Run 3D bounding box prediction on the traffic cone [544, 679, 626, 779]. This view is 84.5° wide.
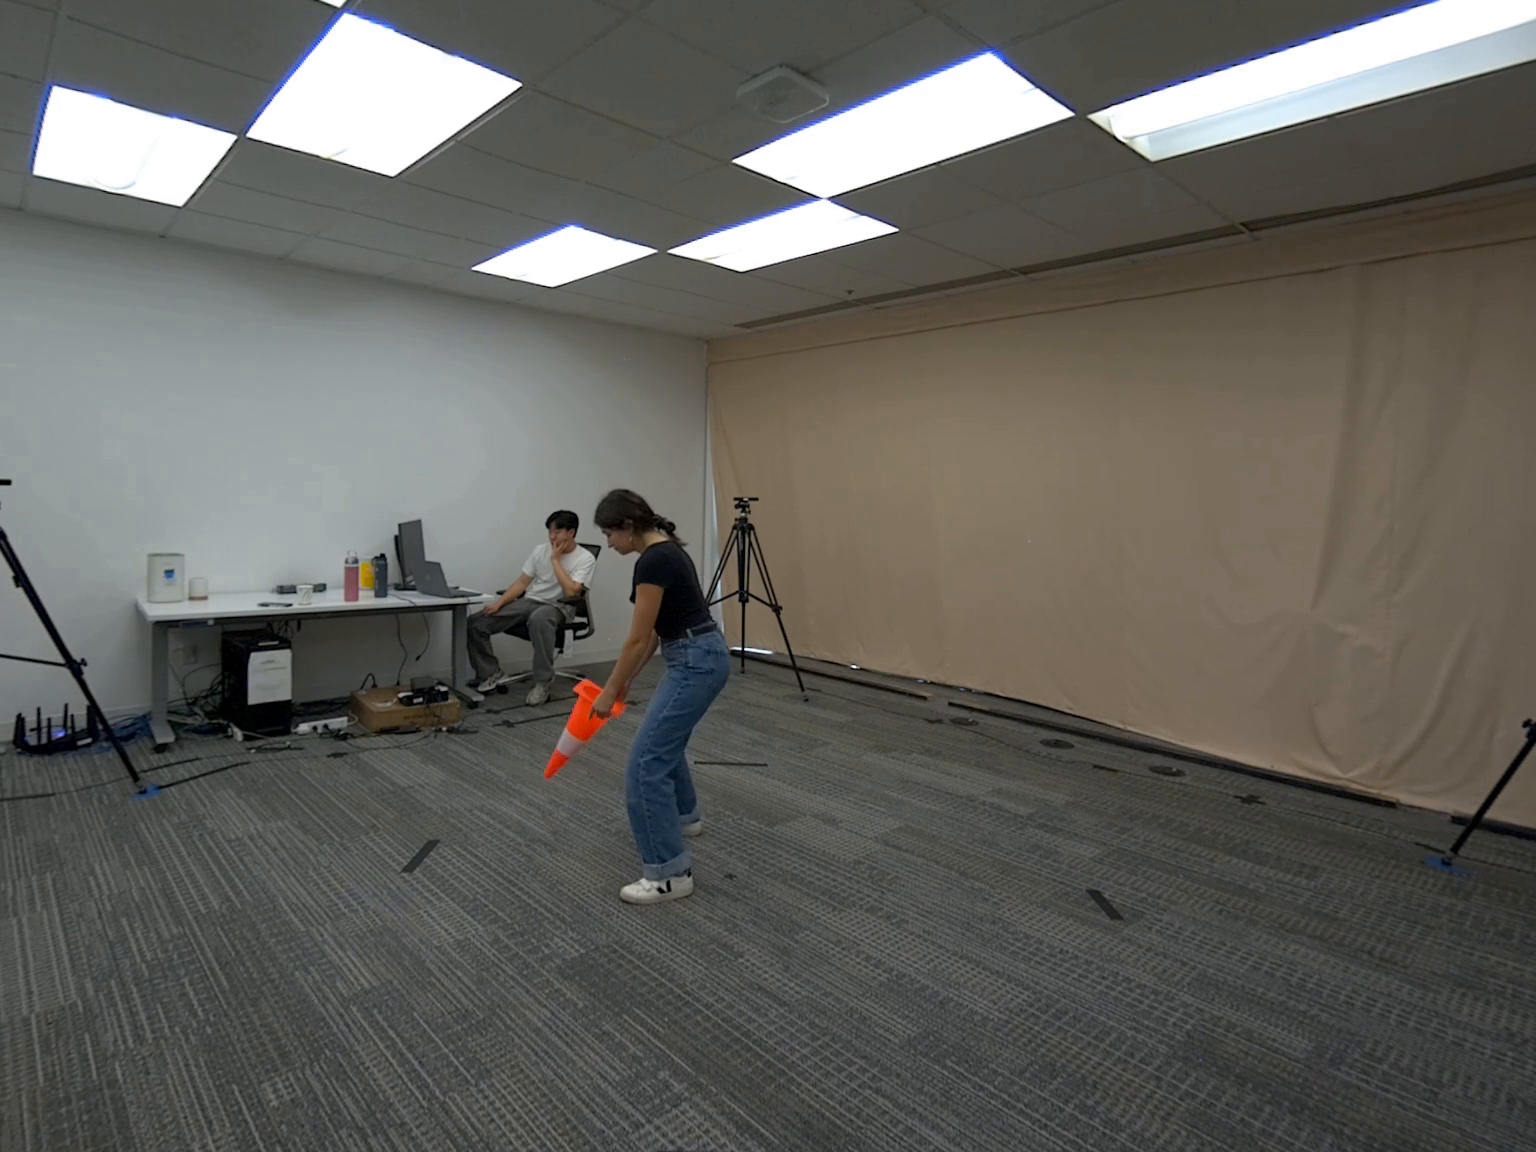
[{"bbox_3d":[-0.756,0.630,3.241,0.205,0.383,0.203,35,2,0],"label":"traffic cone"}]
